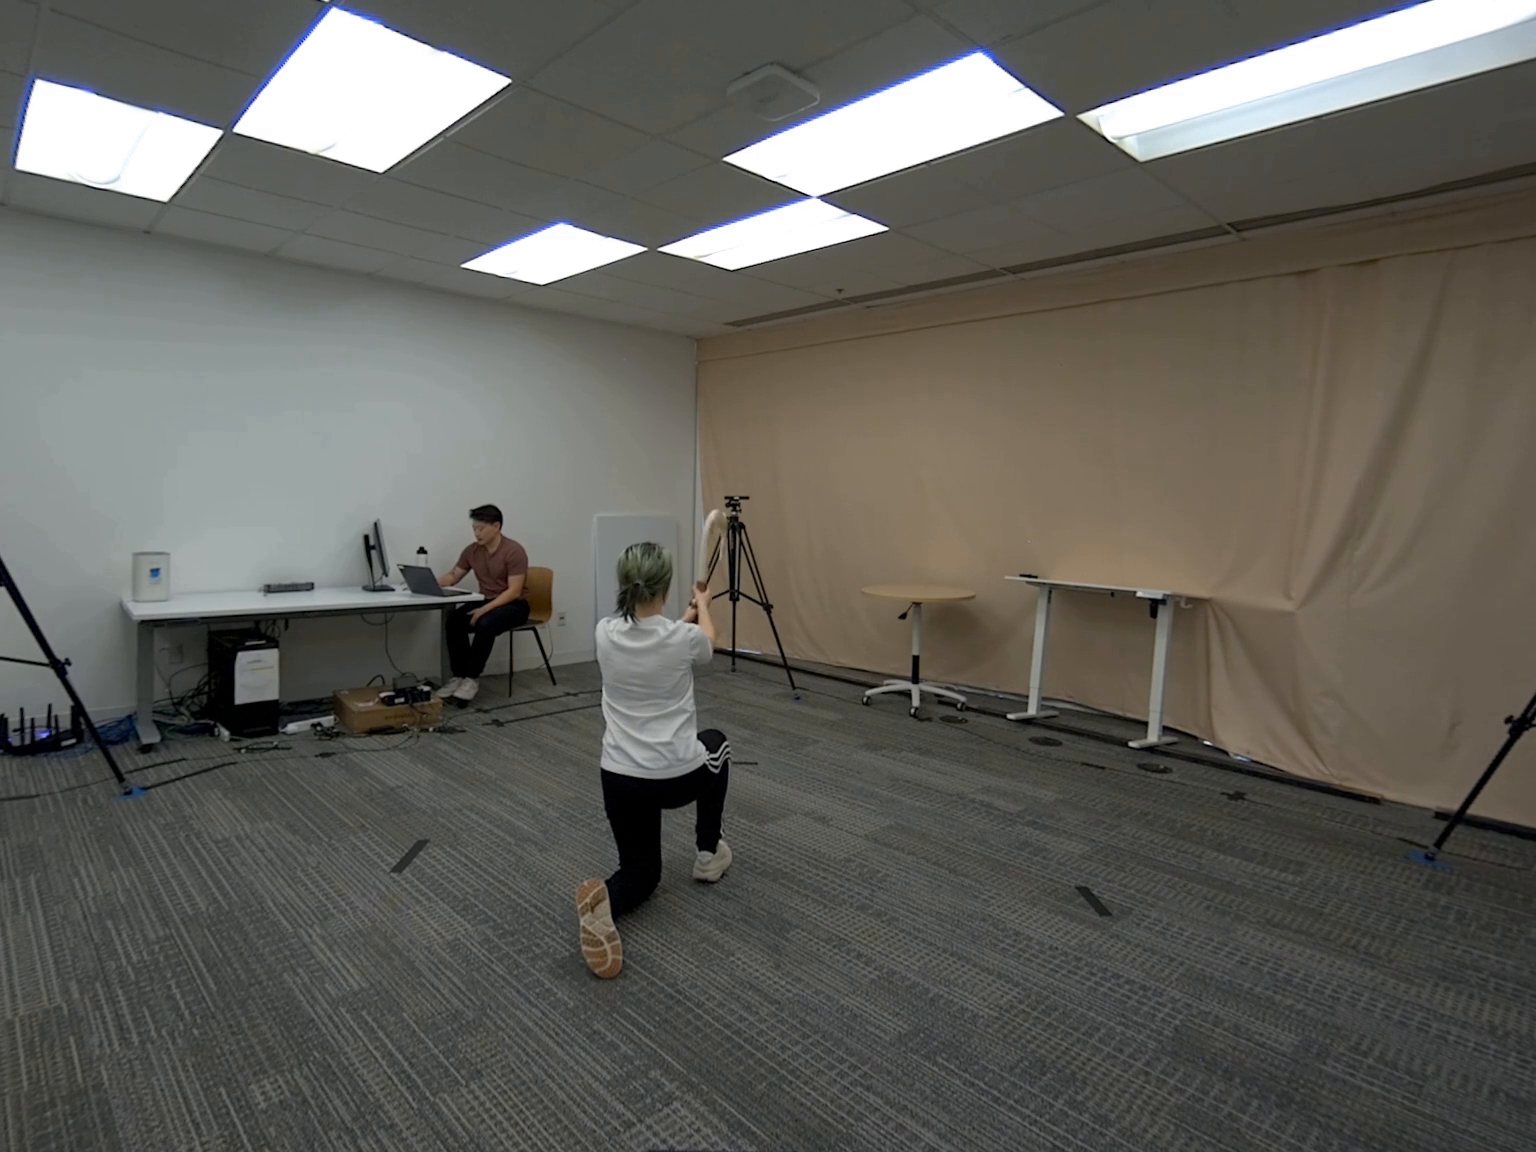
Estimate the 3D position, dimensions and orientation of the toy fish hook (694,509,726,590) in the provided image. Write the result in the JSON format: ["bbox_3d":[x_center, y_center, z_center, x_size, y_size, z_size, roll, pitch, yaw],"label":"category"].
[{"bbox_3d":[-0.257,-0.004,3.459,0.049,0.509,0.219,7,-8,25],"label":"toy fish hook"}]
